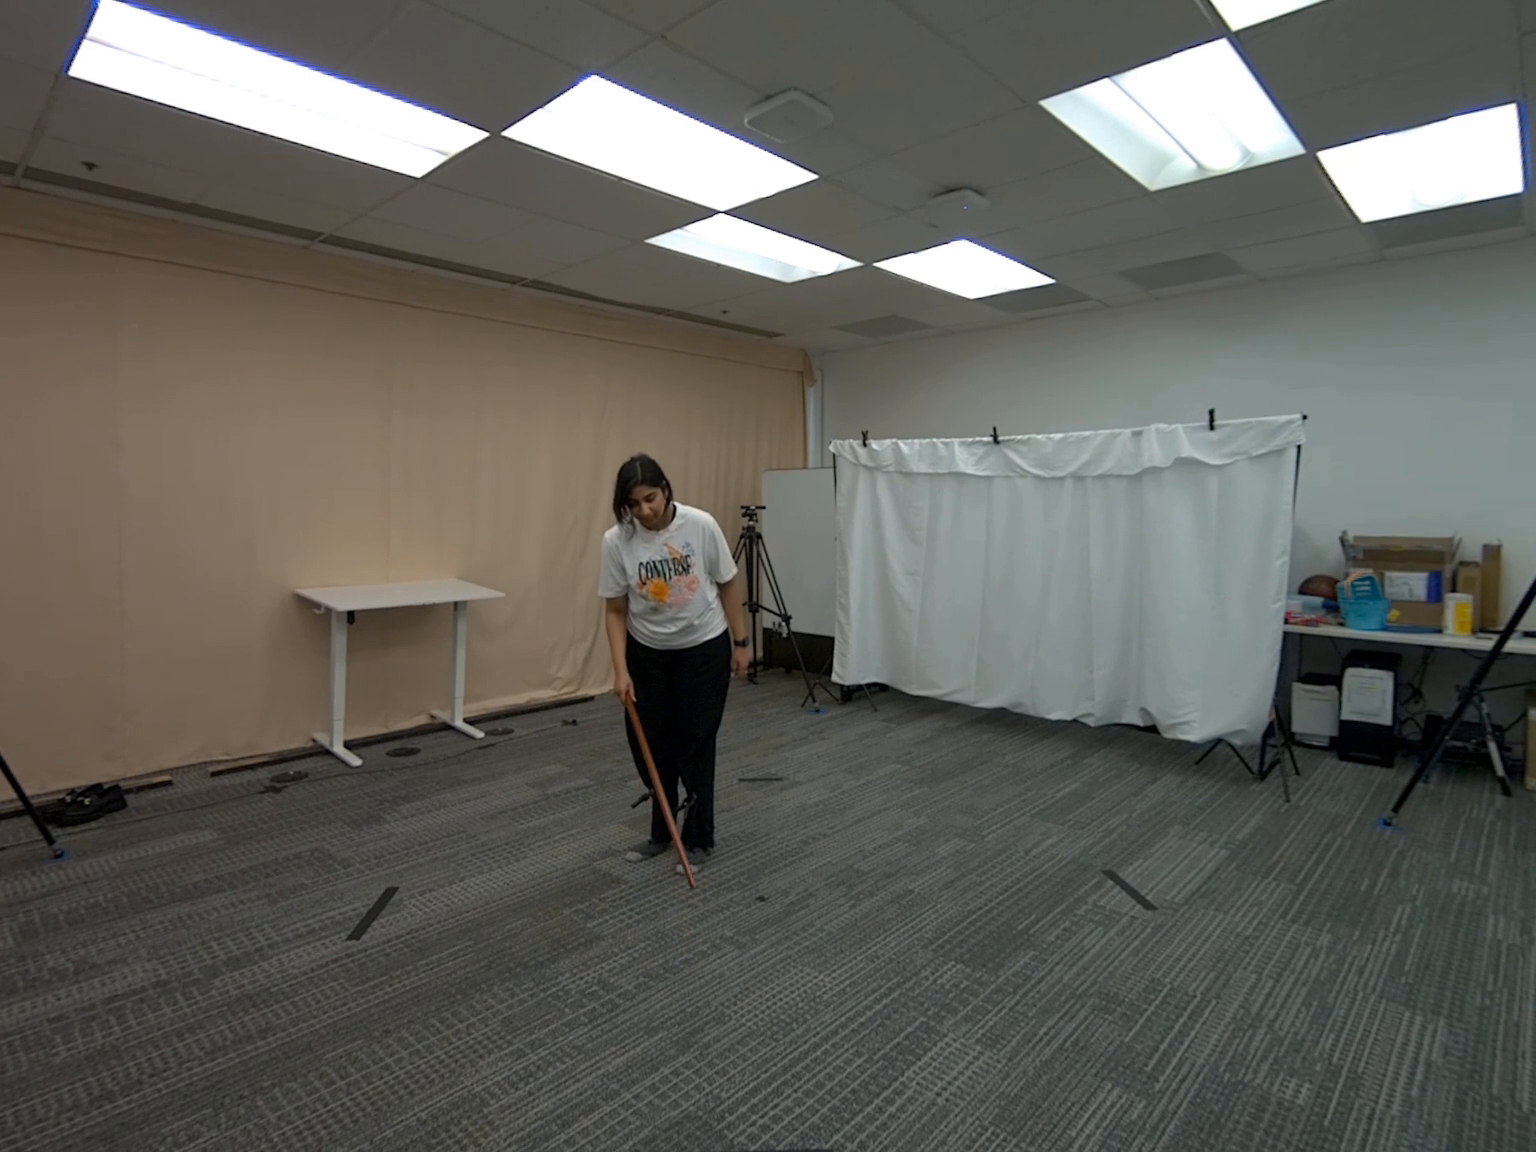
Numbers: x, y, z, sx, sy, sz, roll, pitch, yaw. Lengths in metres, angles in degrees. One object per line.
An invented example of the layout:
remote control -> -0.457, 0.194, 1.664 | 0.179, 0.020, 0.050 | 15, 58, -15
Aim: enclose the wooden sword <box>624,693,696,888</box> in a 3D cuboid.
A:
wooden sword -> -0.355, 0.654, 2.776 | 0.051, 0.023, 1.055 | -25, 31, -7
